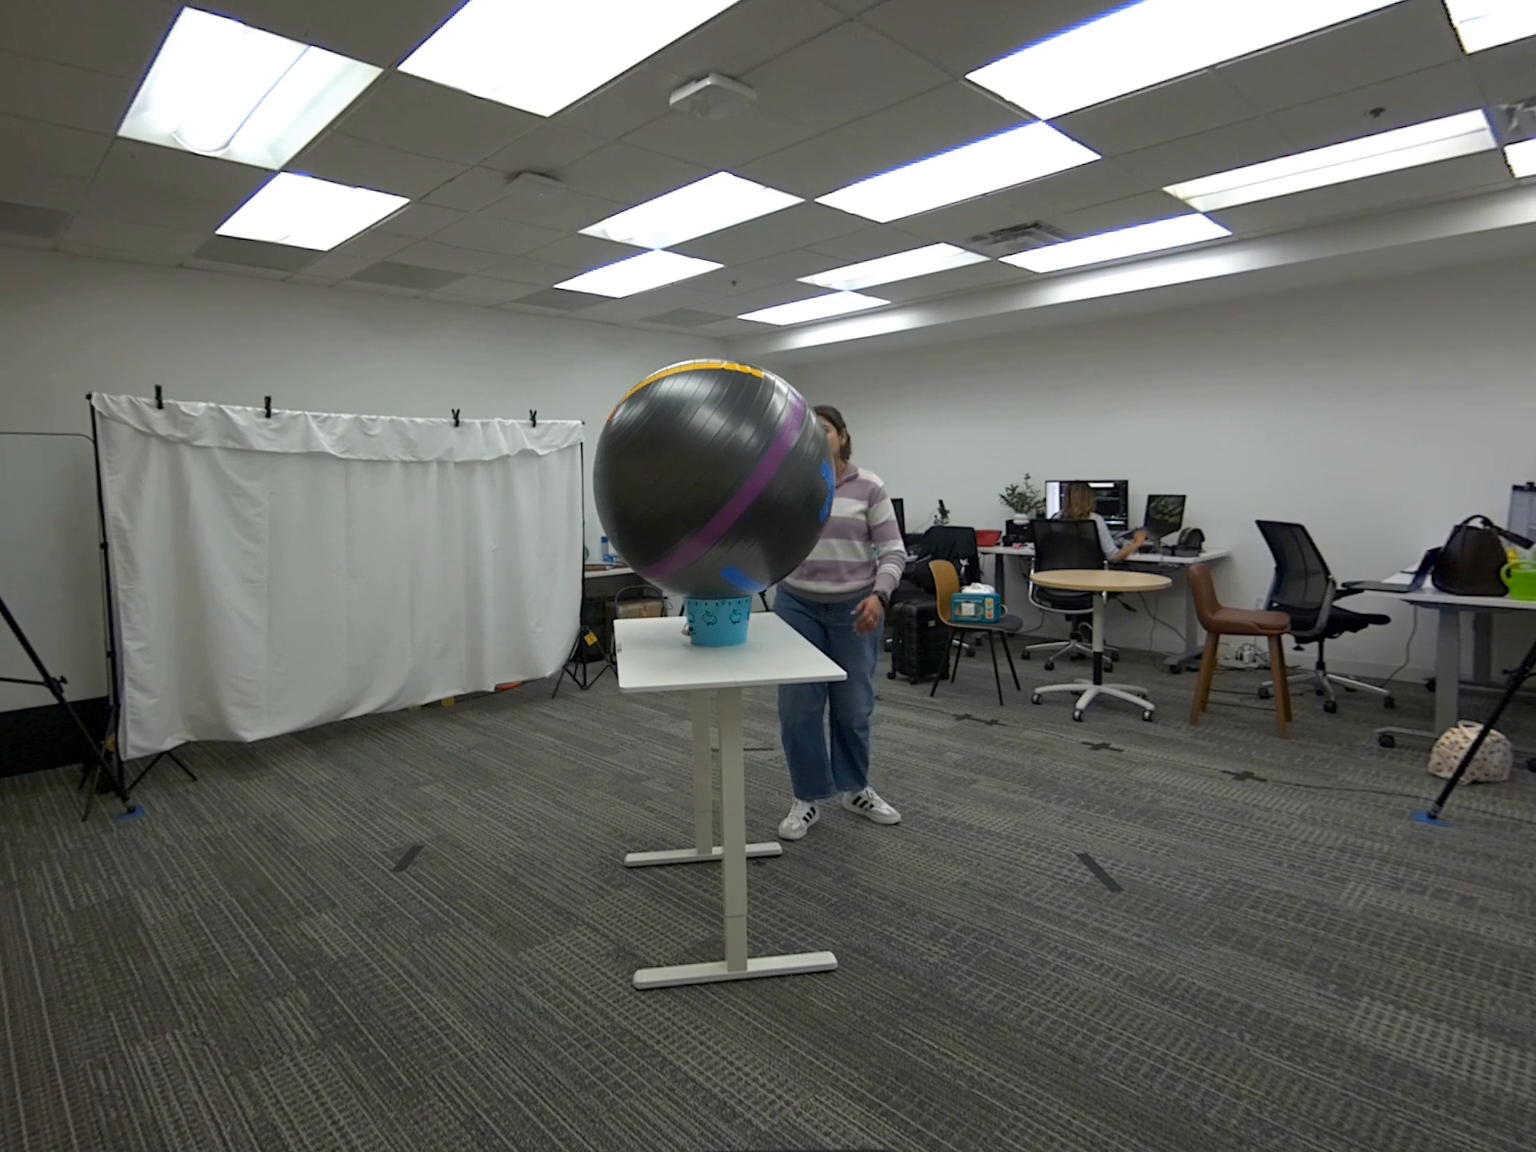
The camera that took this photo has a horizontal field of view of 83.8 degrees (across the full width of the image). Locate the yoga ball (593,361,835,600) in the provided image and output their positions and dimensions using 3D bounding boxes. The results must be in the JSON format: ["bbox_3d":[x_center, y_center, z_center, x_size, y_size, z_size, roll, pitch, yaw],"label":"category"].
[{"bbox_3d":[-0.175,-0.295,2.690,0.757,0.755,0.762,-1,5,-2],"label":"yoga ball"}]
